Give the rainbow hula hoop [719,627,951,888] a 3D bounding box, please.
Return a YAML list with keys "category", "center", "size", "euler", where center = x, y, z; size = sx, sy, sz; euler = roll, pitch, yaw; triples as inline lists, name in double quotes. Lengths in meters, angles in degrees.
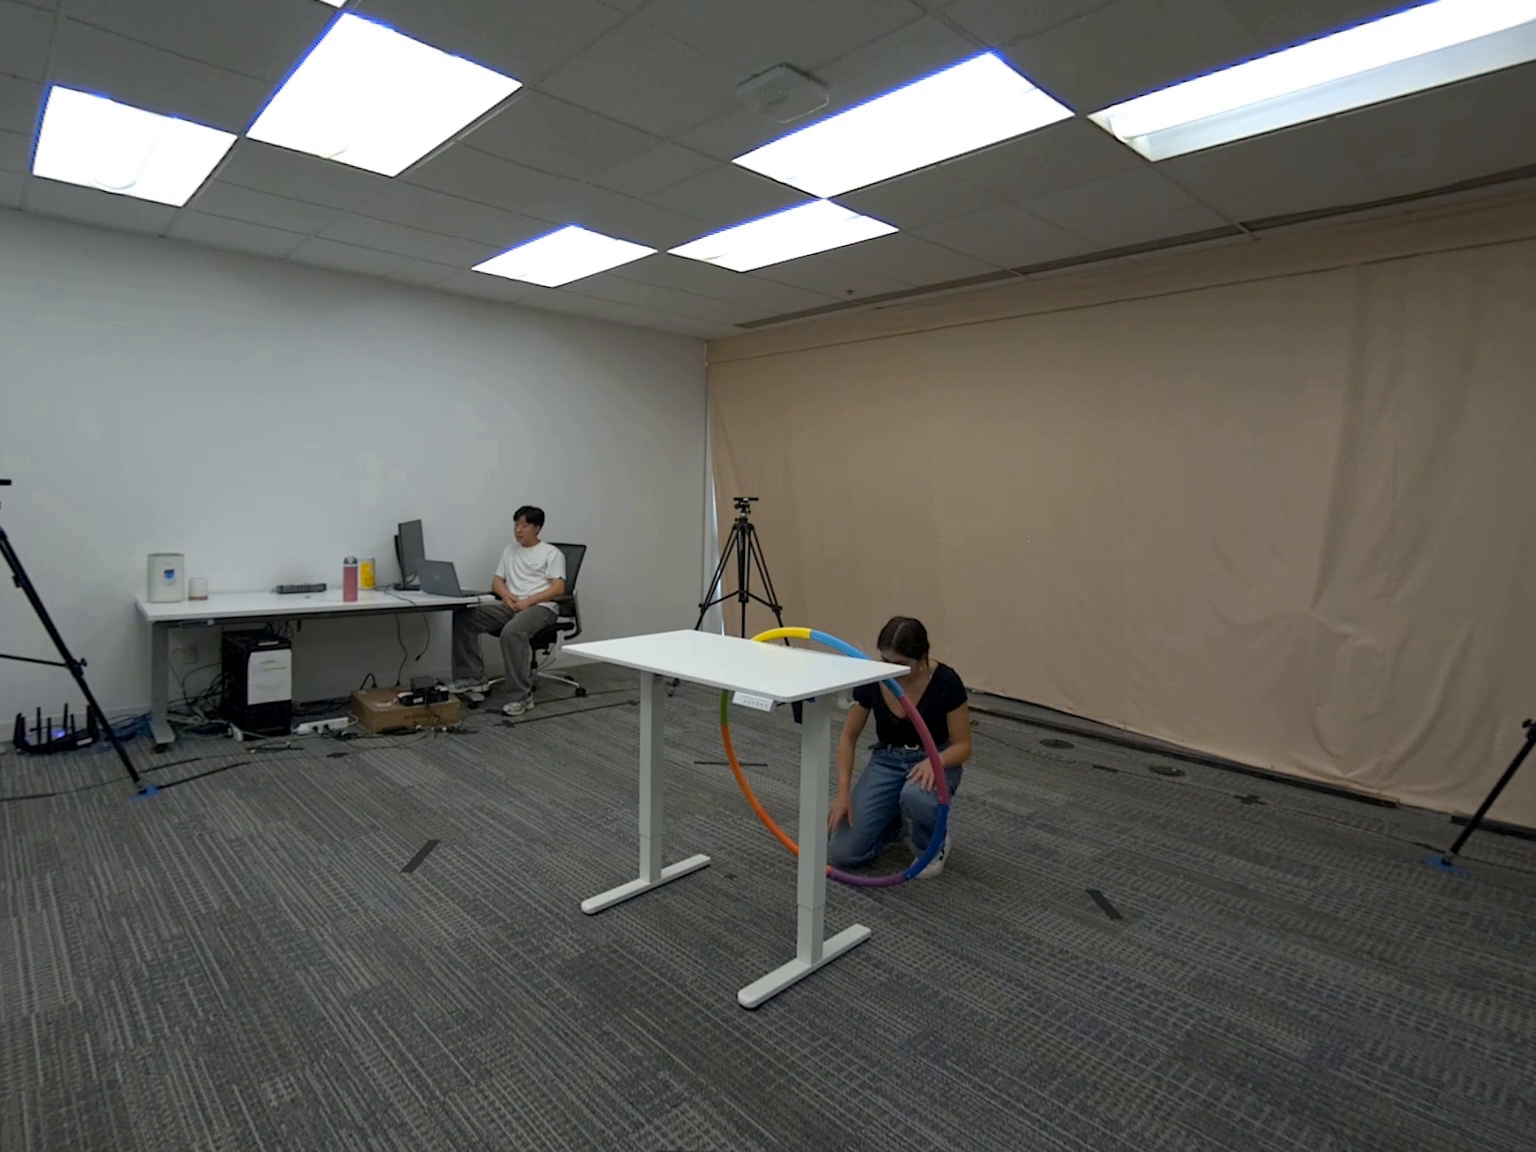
- category: "rainbow hula hoop"
  center: [0.193, 0.650, 2.996]
  size: [1.004, 0.967, 0.035]
  euler: [5, 19, 43]
